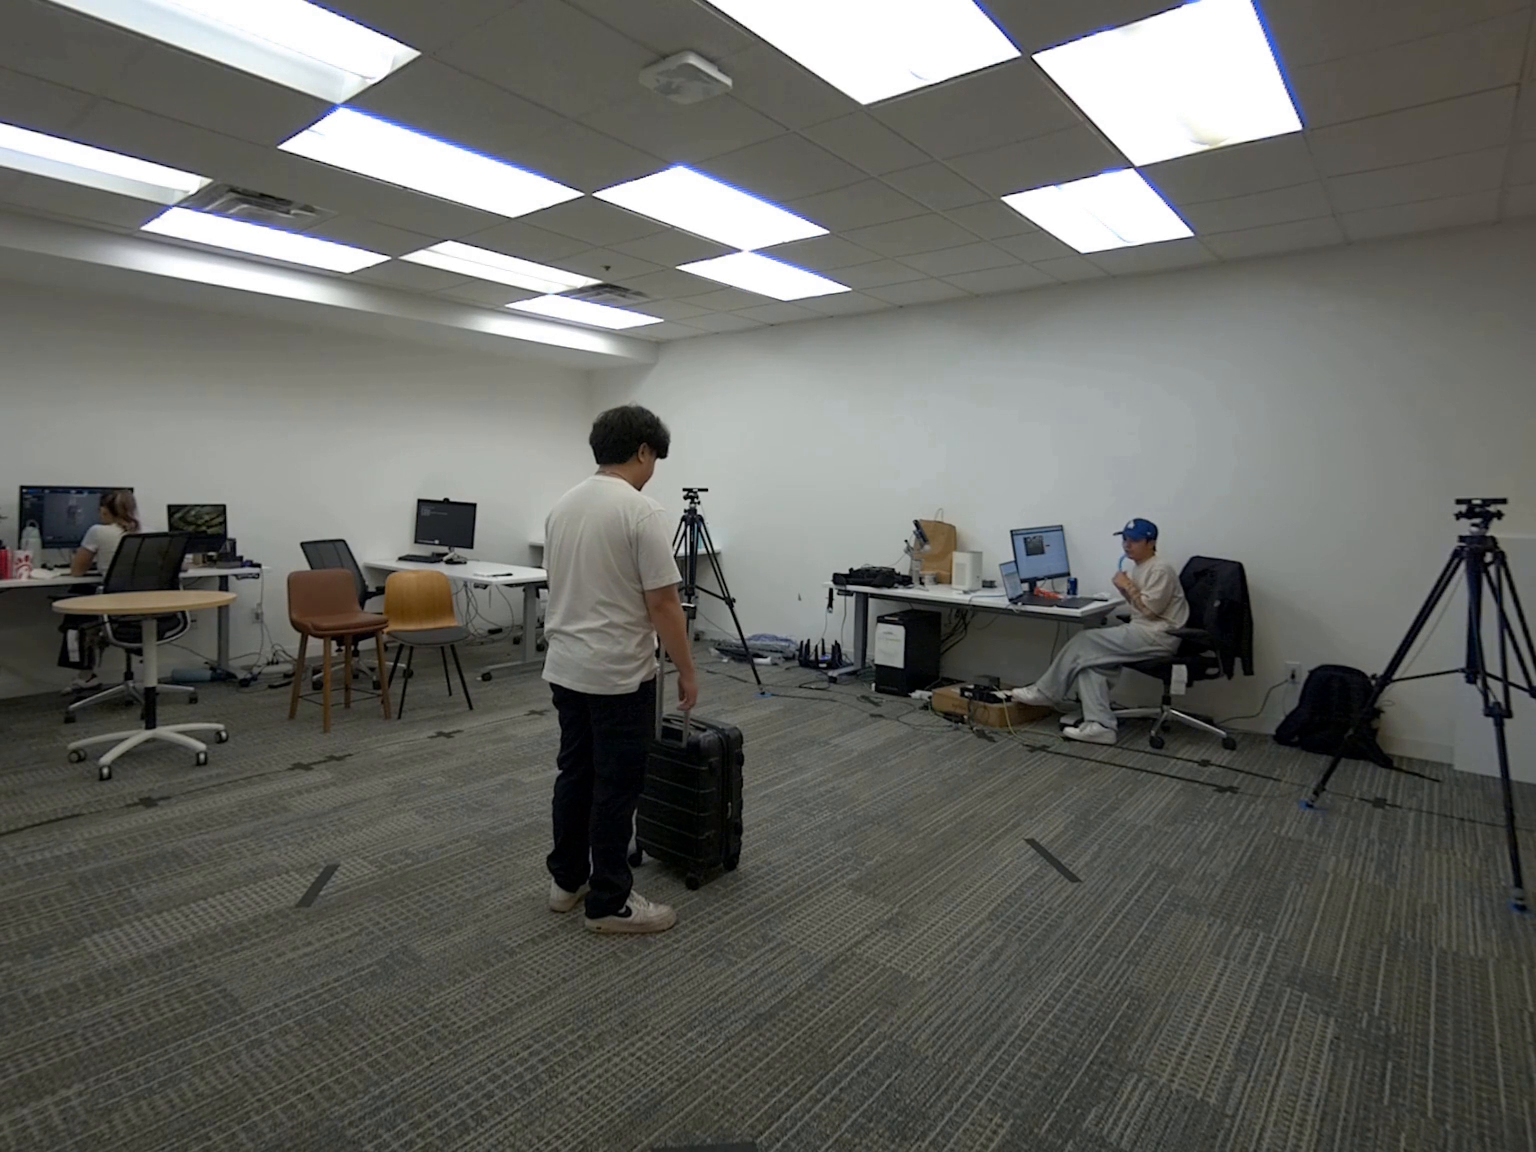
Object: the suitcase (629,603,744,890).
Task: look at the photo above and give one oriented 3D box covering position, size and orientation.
[{"bbox_3d":[-0.284,0.591,3.122,0.397,0.978,0.249,4,1,39],"label":"suitcase"}]
